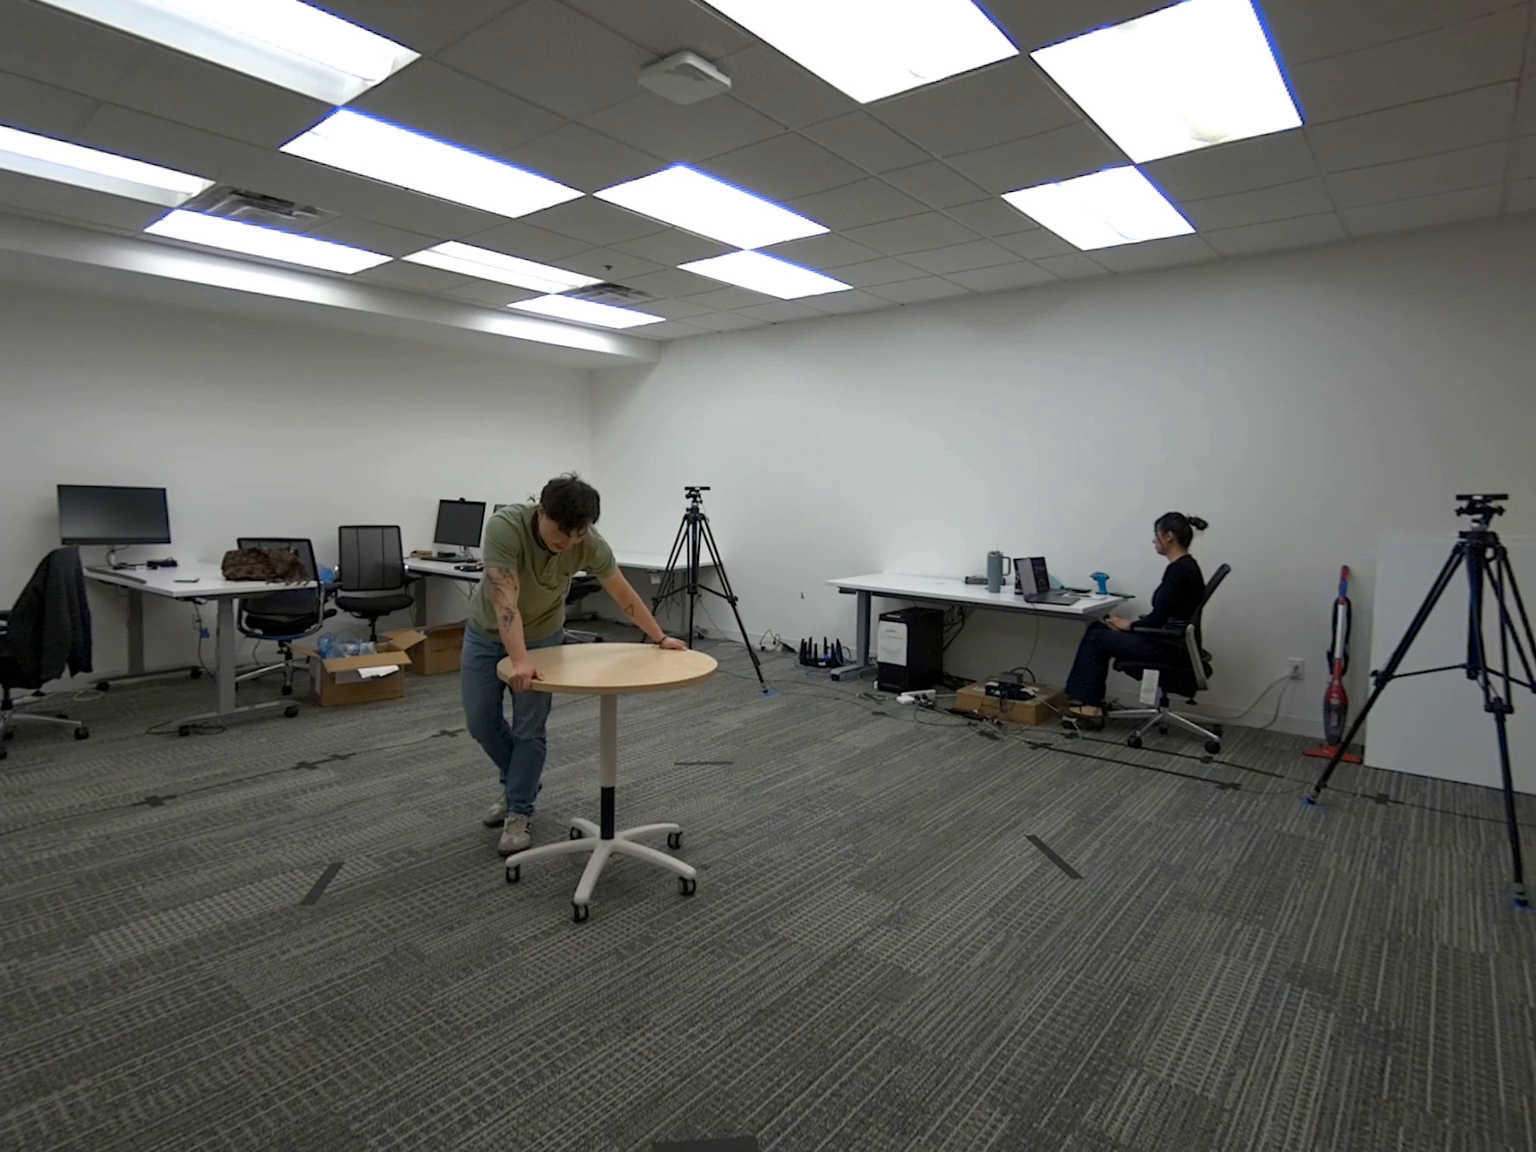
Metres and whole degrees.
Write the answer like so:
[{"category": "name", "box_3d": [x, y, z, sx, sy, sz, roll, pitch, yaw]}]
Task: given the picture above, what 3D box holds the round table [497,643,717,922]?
[{"category": "round table", "box_3d": [-0.578, 0.687, 3.016, 0.763, 0.791, 0.767, 1, 4, -2]}]
